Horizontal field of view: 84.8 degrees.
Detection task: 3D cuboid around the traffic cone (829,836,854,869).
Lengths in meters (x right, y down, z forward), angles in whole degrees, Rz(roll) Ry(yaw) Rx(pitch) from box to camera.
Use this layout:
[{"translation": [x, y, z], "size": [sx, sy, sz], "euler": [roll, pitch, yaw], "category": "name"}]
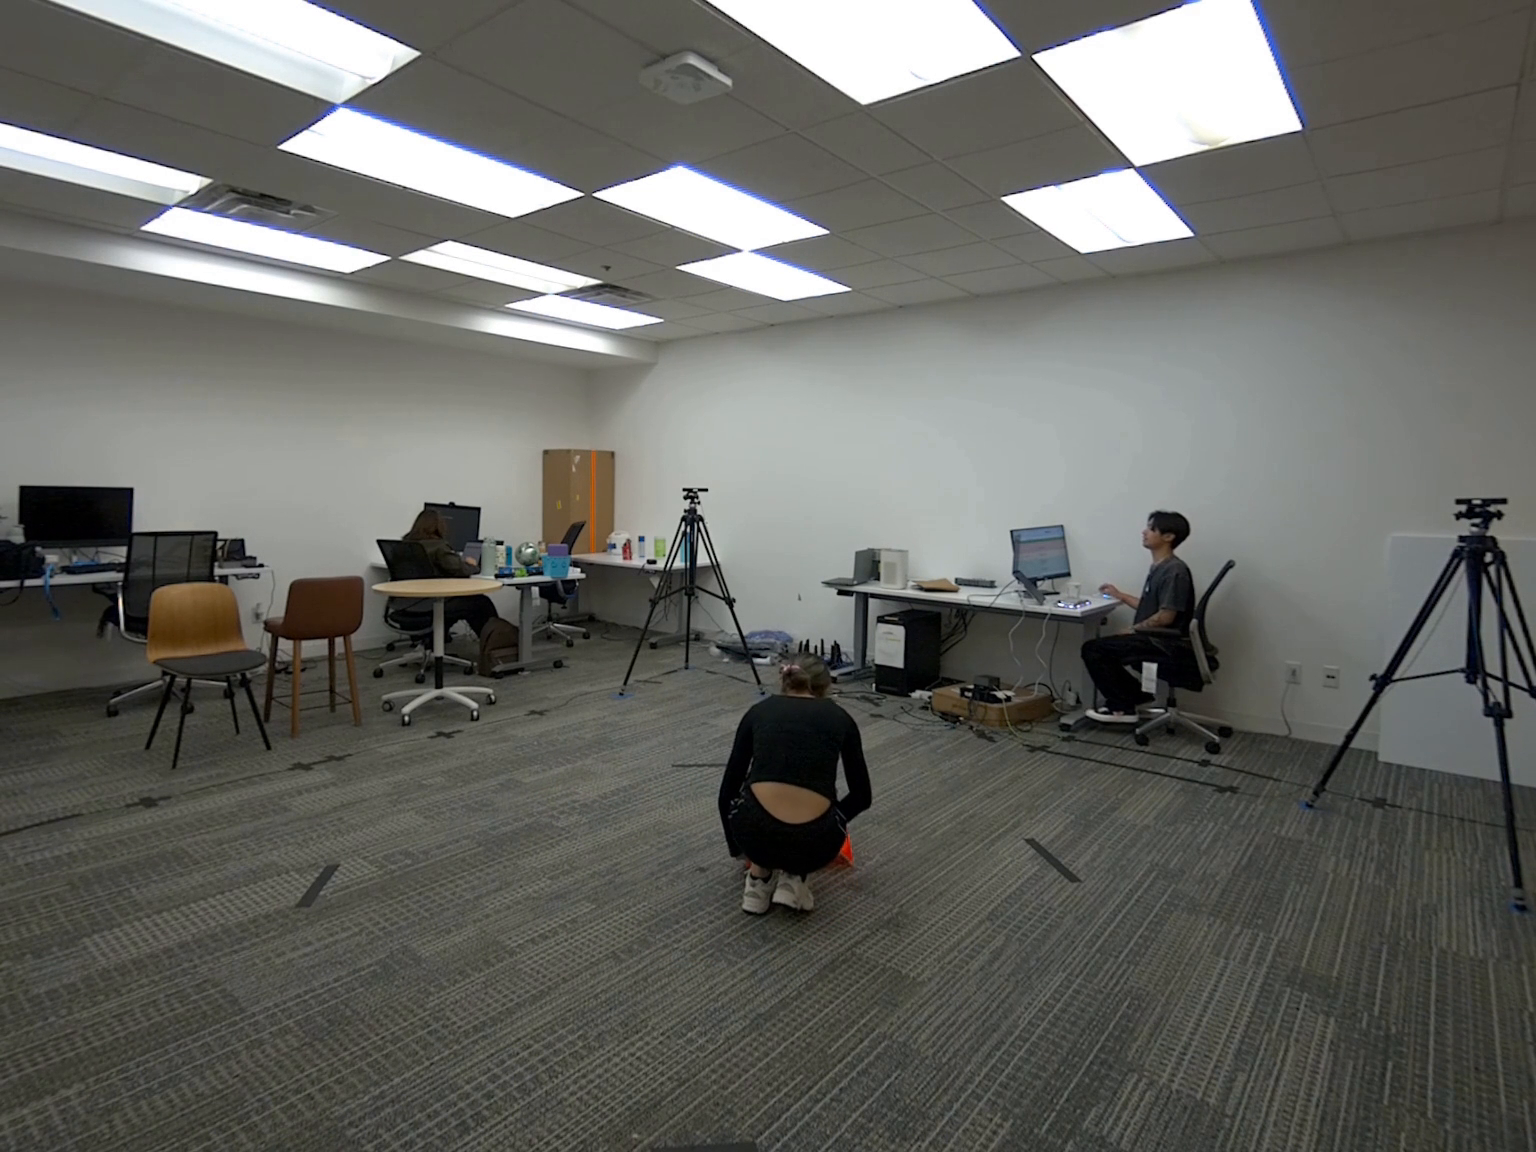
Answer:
[{"translation": [0.080, 1.006, 3.190], "size": [0.379, 0.204, 0.206], "euler": [-14, 3, -16], "category": "traffic cone"}]
